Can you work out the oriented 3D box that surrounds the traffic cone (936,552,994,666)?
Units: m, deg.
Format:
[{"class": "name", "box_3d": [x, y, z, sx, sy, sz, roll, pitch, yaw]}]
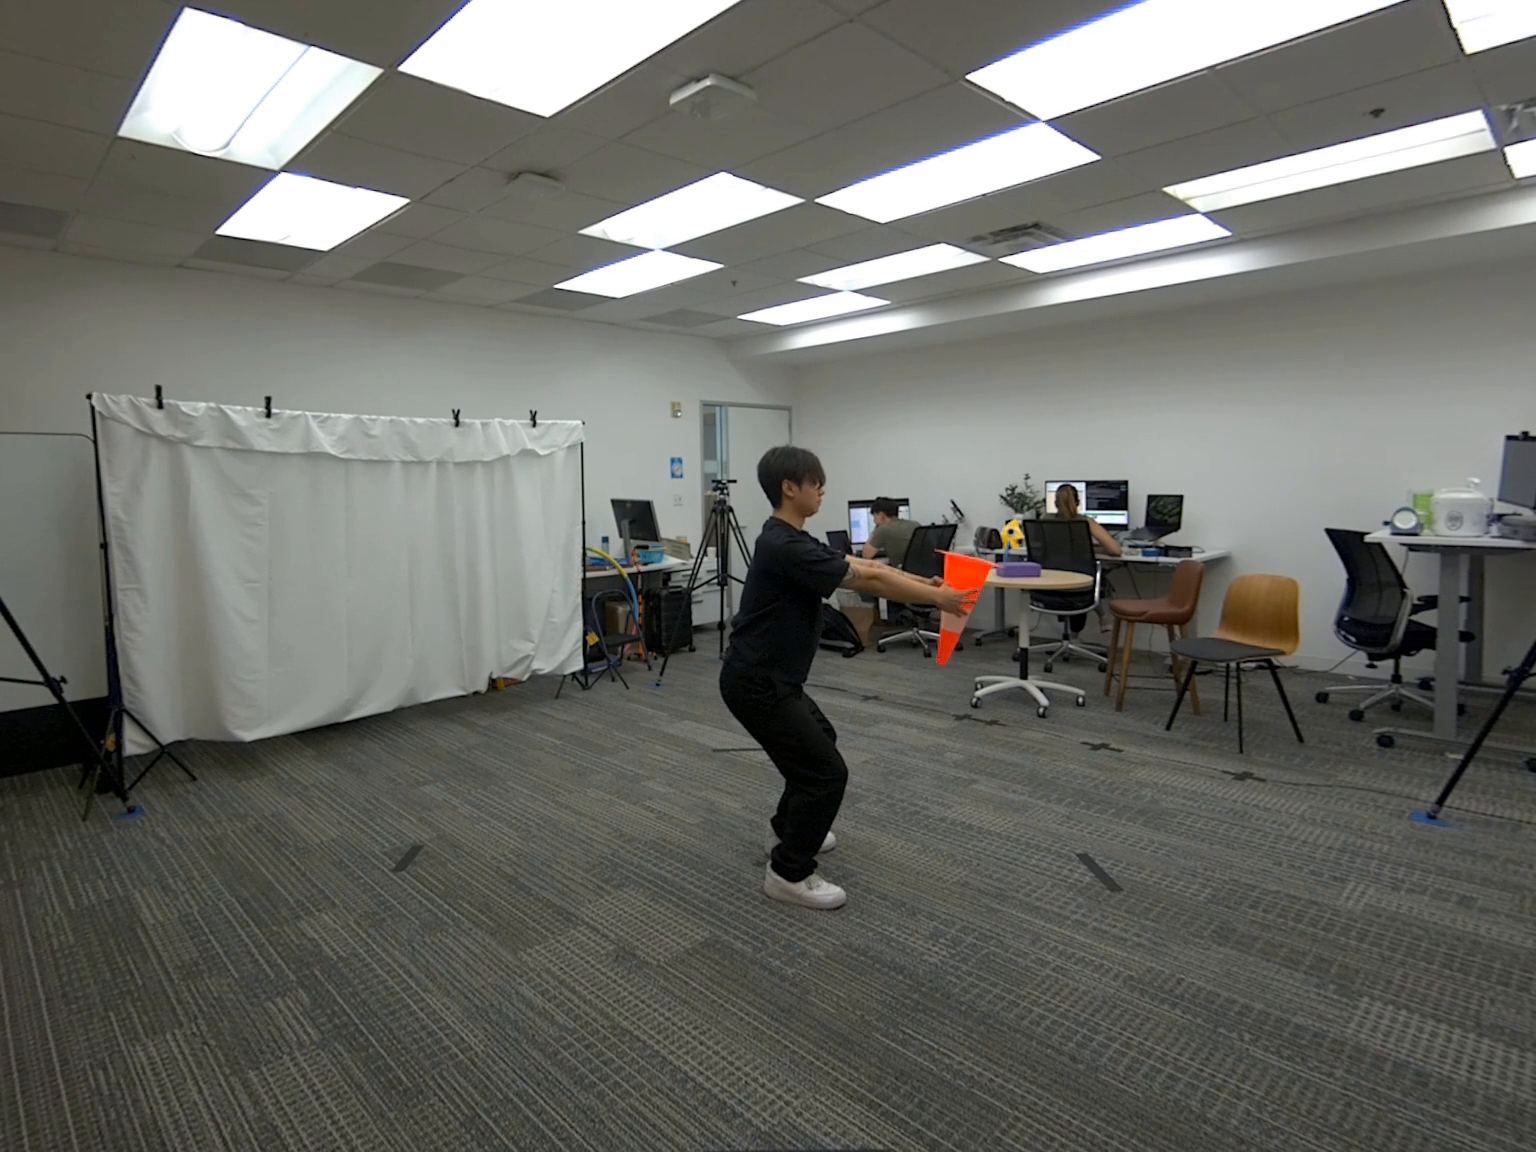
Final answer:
[{"class": "traffic cone", "box_3d": [0.648, 0.131, 2.929, 0.204, 0.382, 0.205, 14, 5, 2]}]
